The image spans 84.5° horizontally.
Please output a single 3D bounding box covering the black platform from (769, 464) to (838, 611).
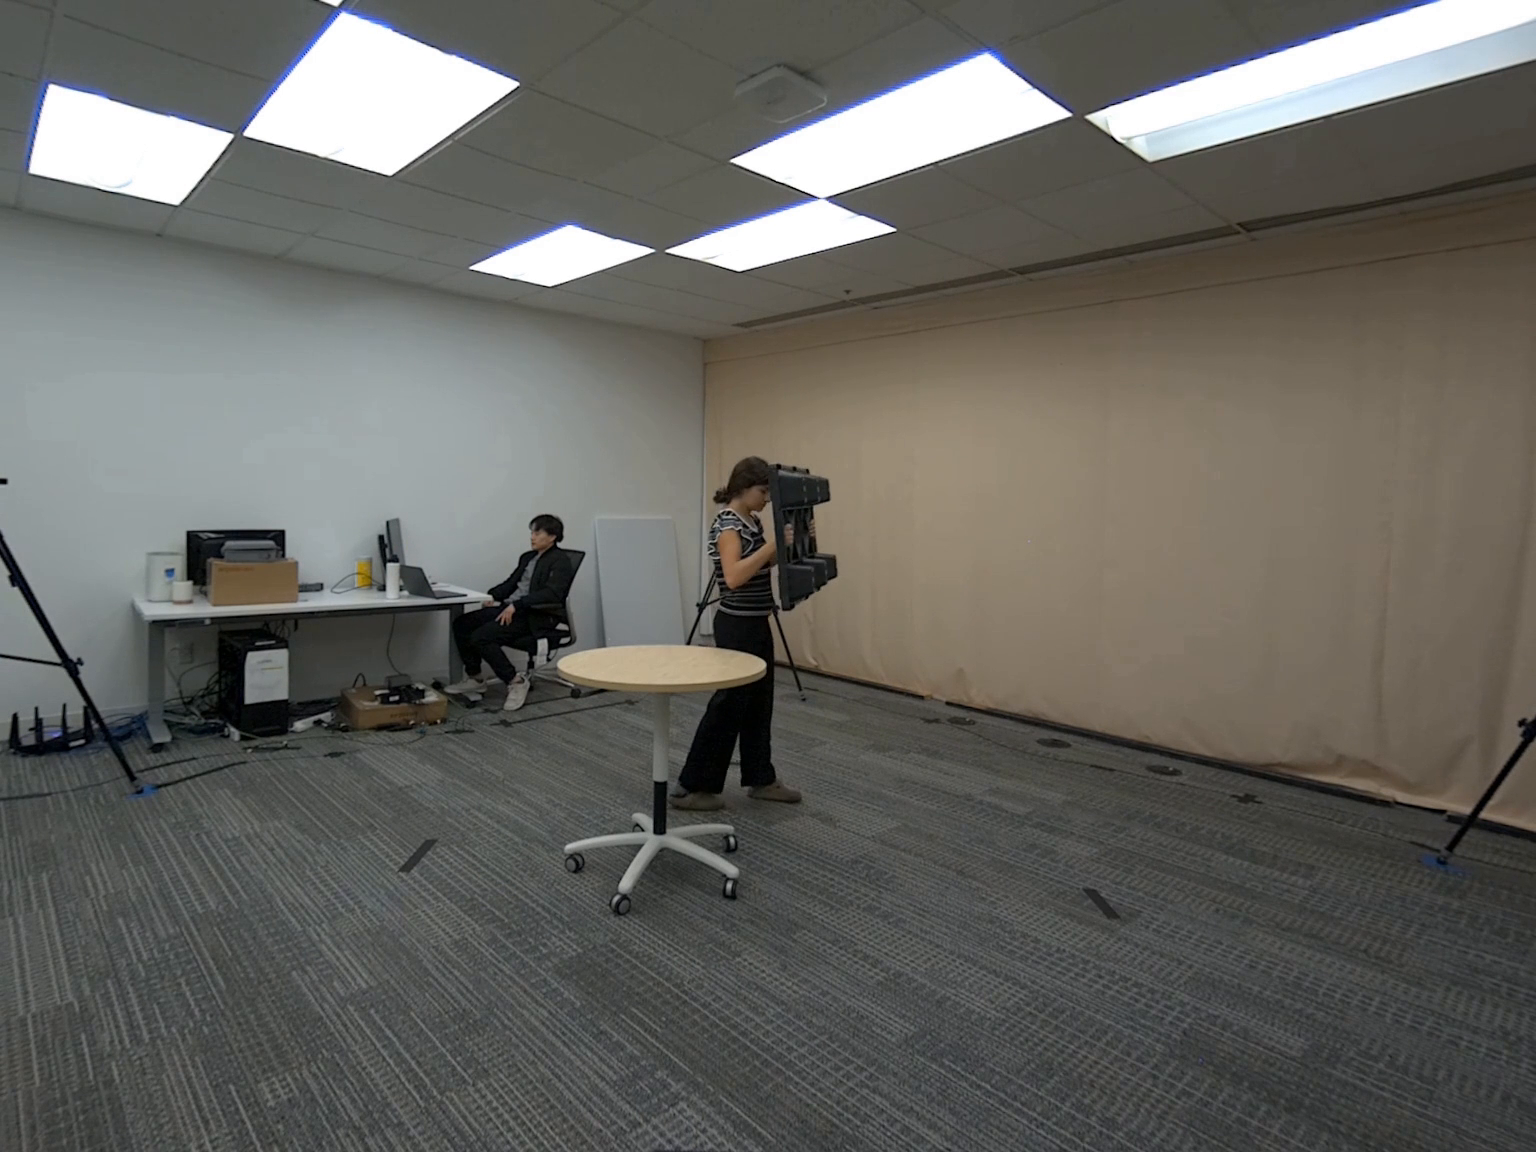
[{"bbox_3d":[0.155,-0.195,3.749,0.145,0.604,0.799,-3,4,12],"label":"black platform"}]
